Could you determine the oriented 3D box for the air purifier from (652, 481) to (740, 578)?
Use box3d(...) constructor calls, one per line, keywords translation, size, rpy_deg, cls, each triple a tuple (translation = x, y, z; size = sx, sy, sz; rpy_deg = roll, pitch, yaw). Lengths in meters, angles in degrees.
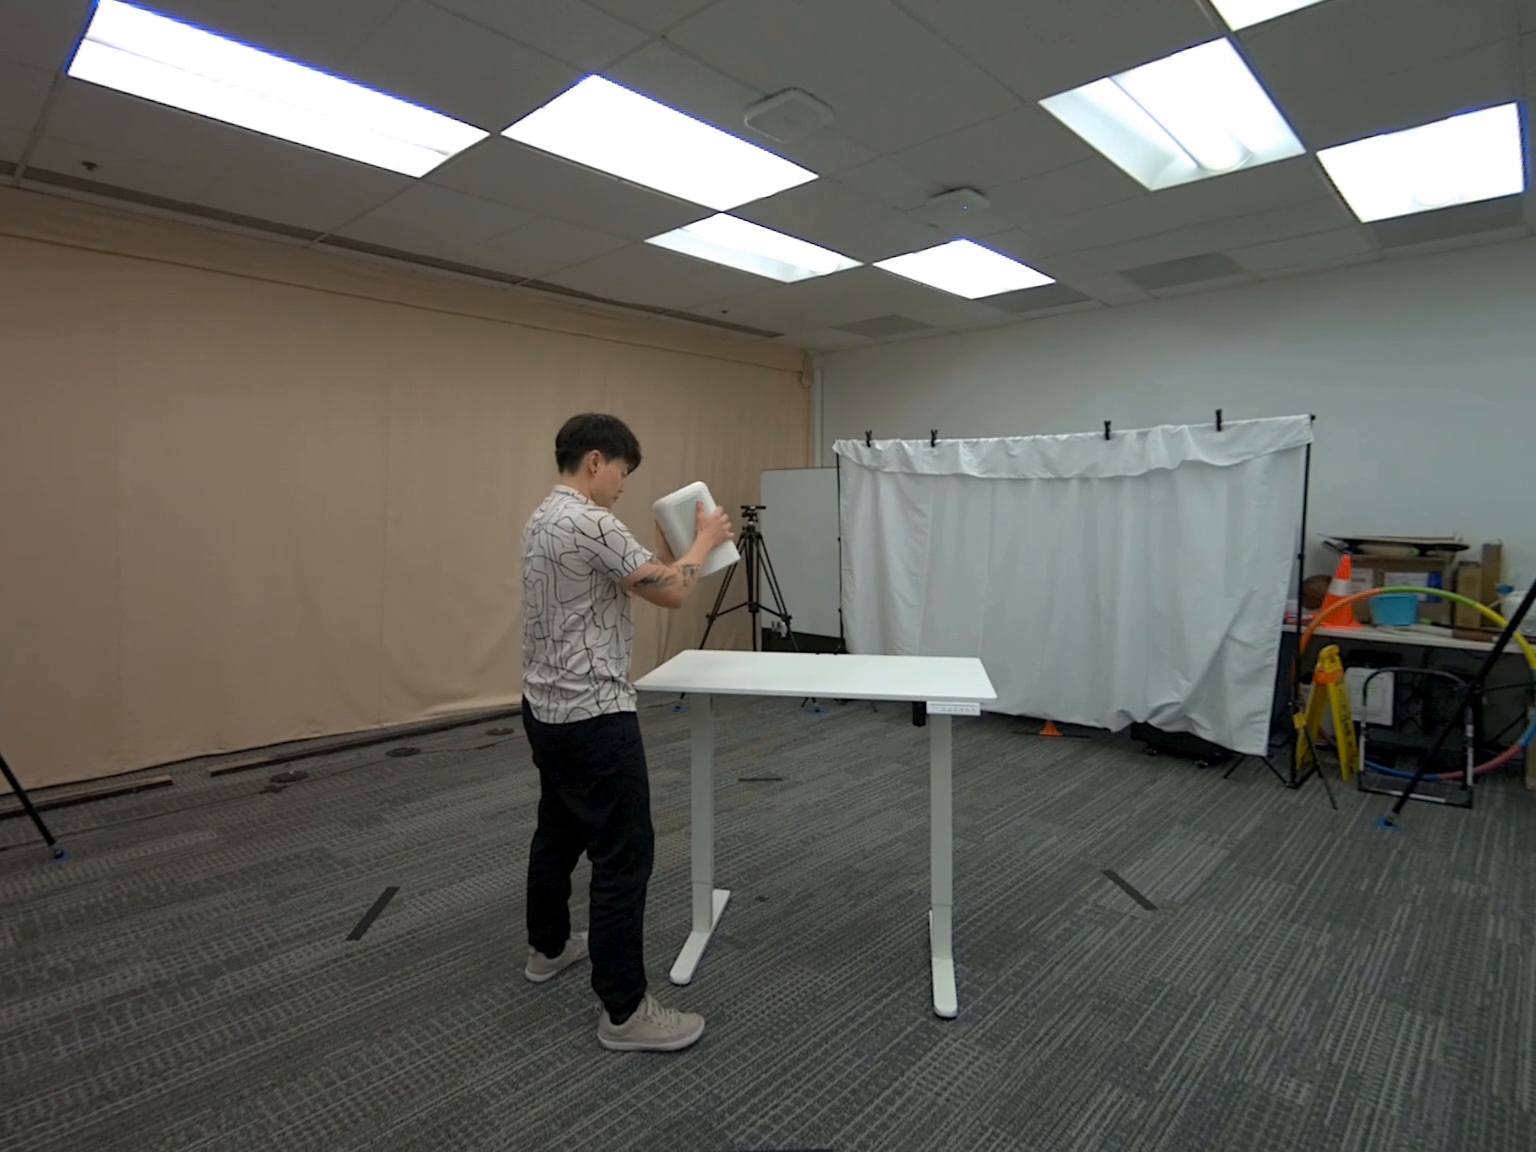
box3d(translation=(-0.218, -0.136, 2.522), size=(0.170, 0.265, 0.173), rpy_deg=(-25, 2, -11), cls="air purifier")
